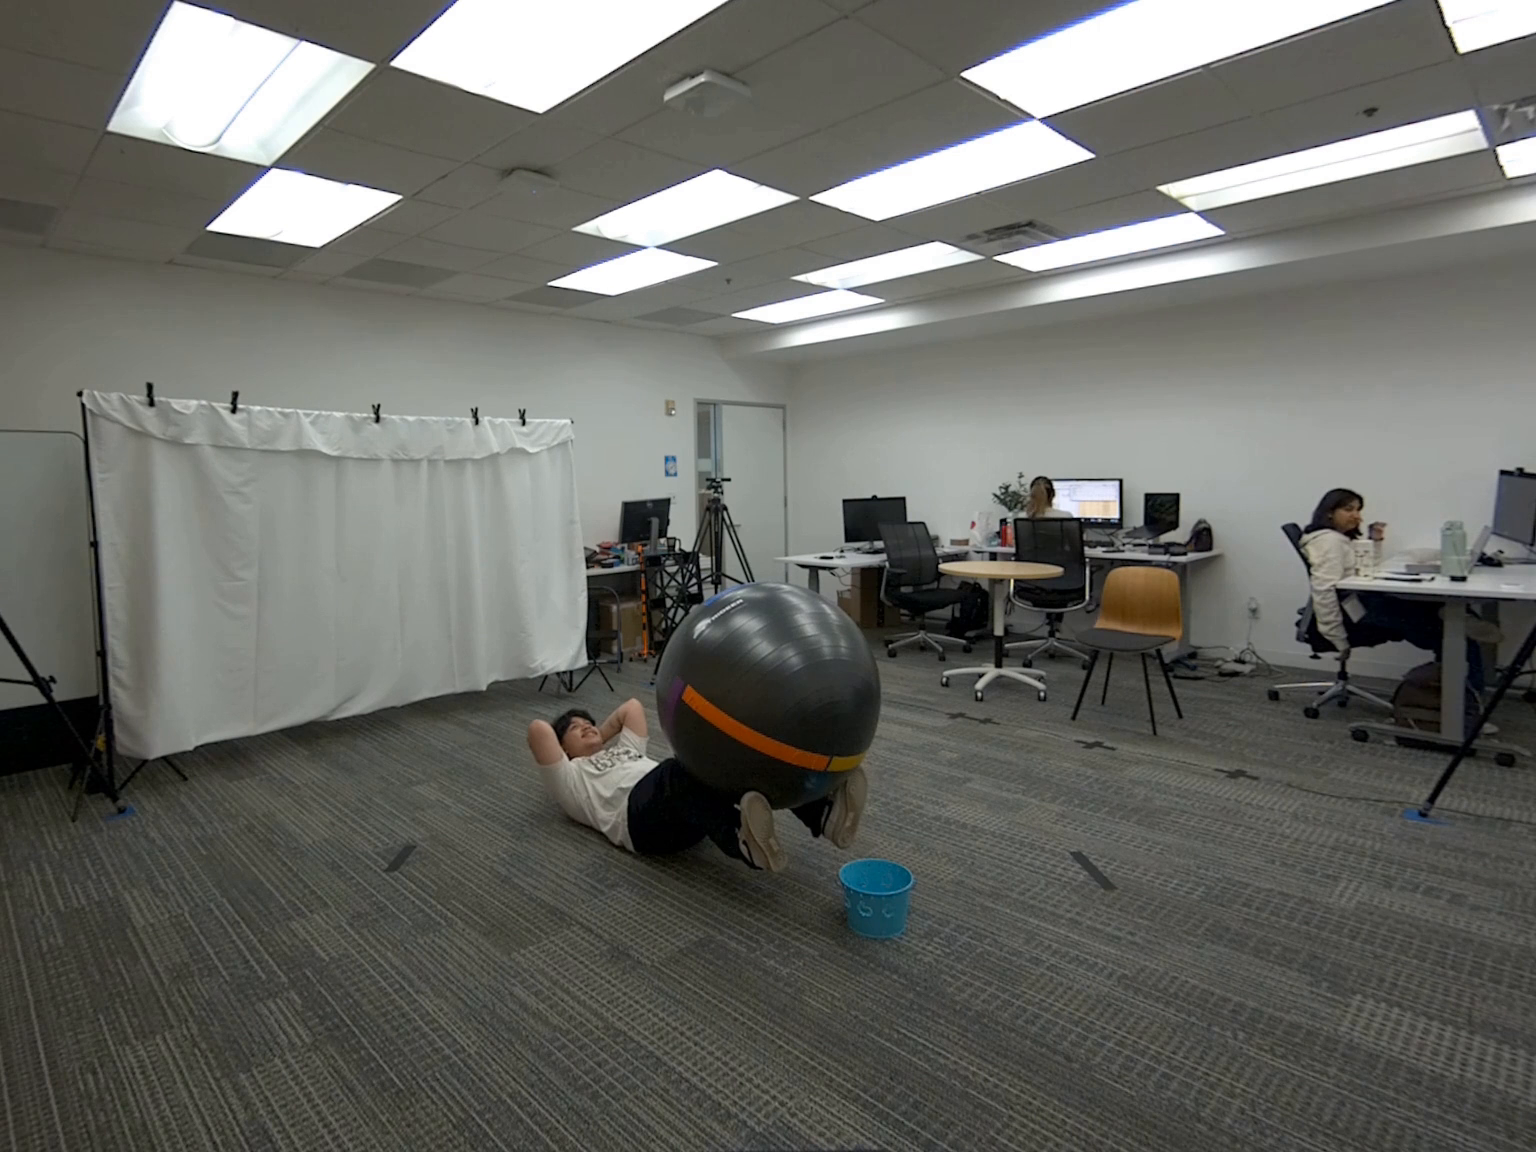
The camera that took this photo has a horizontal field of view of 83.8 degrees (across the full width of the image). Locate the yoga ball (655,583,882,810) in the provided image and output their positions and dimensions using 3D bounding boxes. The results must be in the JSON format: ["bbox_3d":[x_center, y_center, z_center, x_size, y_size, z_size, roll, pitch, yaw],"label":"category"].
[{"bbox_3d":[0.000,0.394,2.909,0.757,0.755,0.762,-1,5,-2],"label":"yoga ball"}]
